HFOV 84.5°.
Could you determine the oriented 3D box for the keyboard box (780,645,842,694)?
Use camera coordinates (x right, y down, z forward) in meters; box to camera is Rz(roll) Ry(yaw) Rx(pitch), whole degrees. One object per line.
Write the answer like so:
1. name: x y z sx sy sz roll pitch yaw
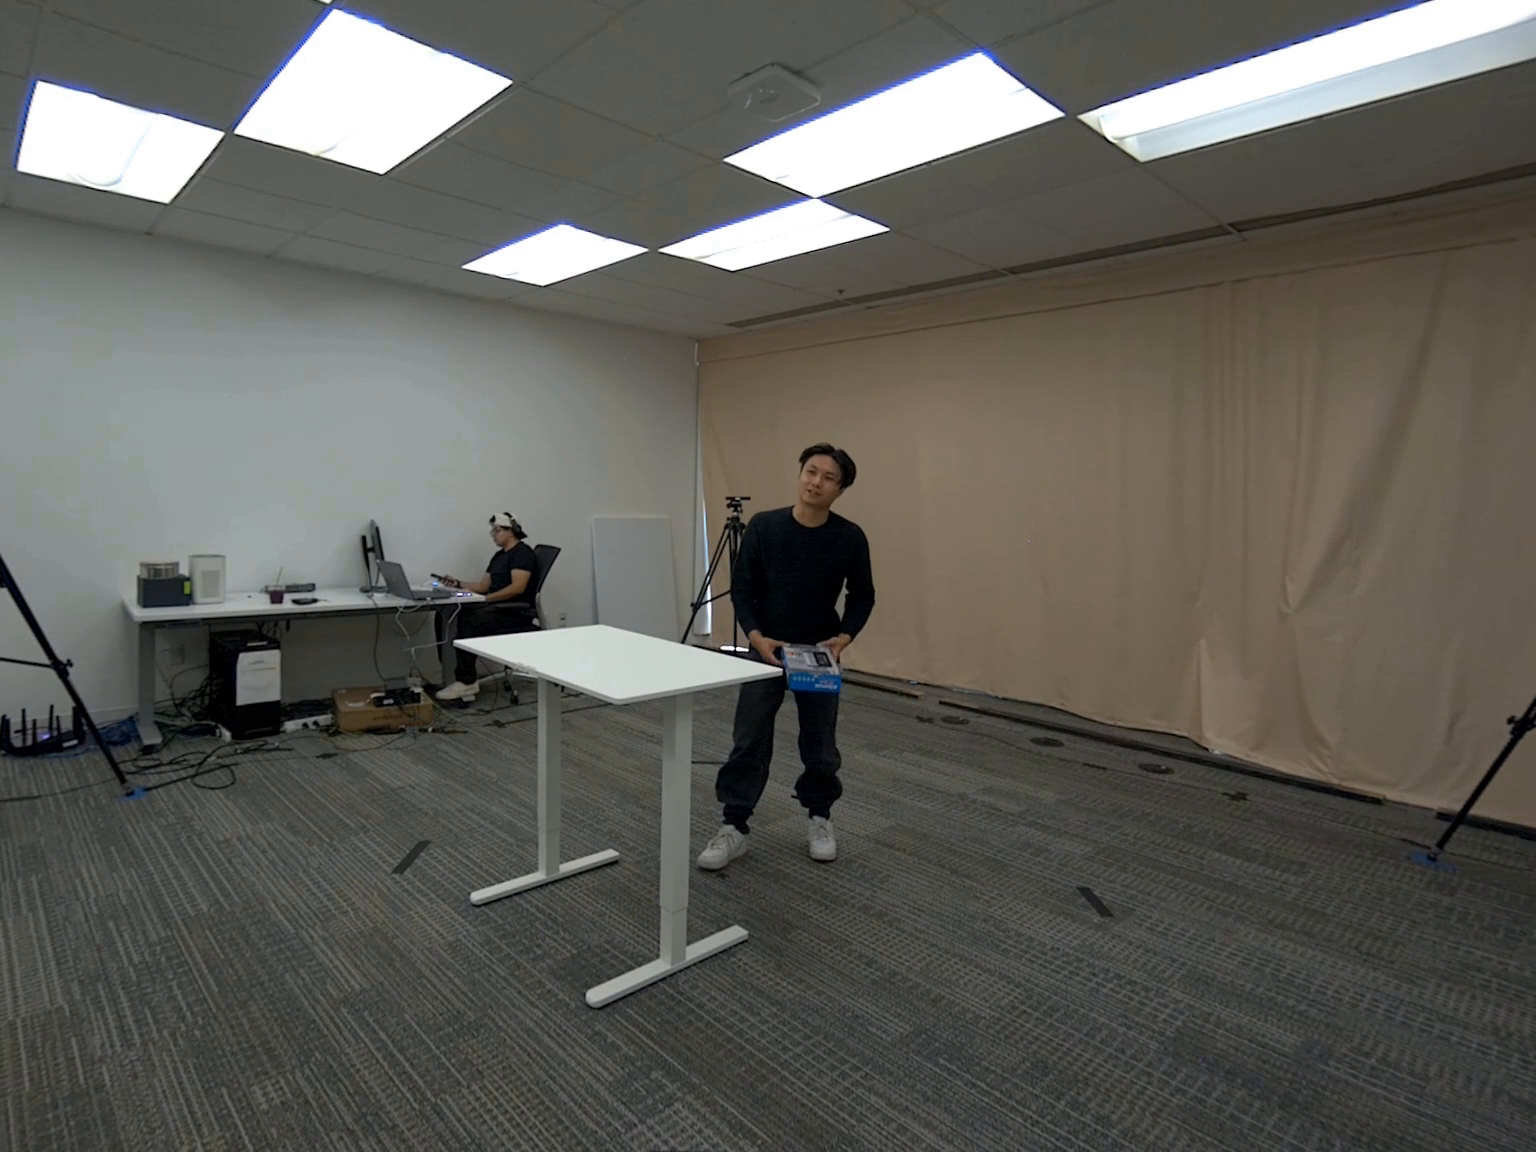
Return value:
1. keyboard box: 0.126 0.319 2.951 0.175 0.059 0.440 3 7 -4
